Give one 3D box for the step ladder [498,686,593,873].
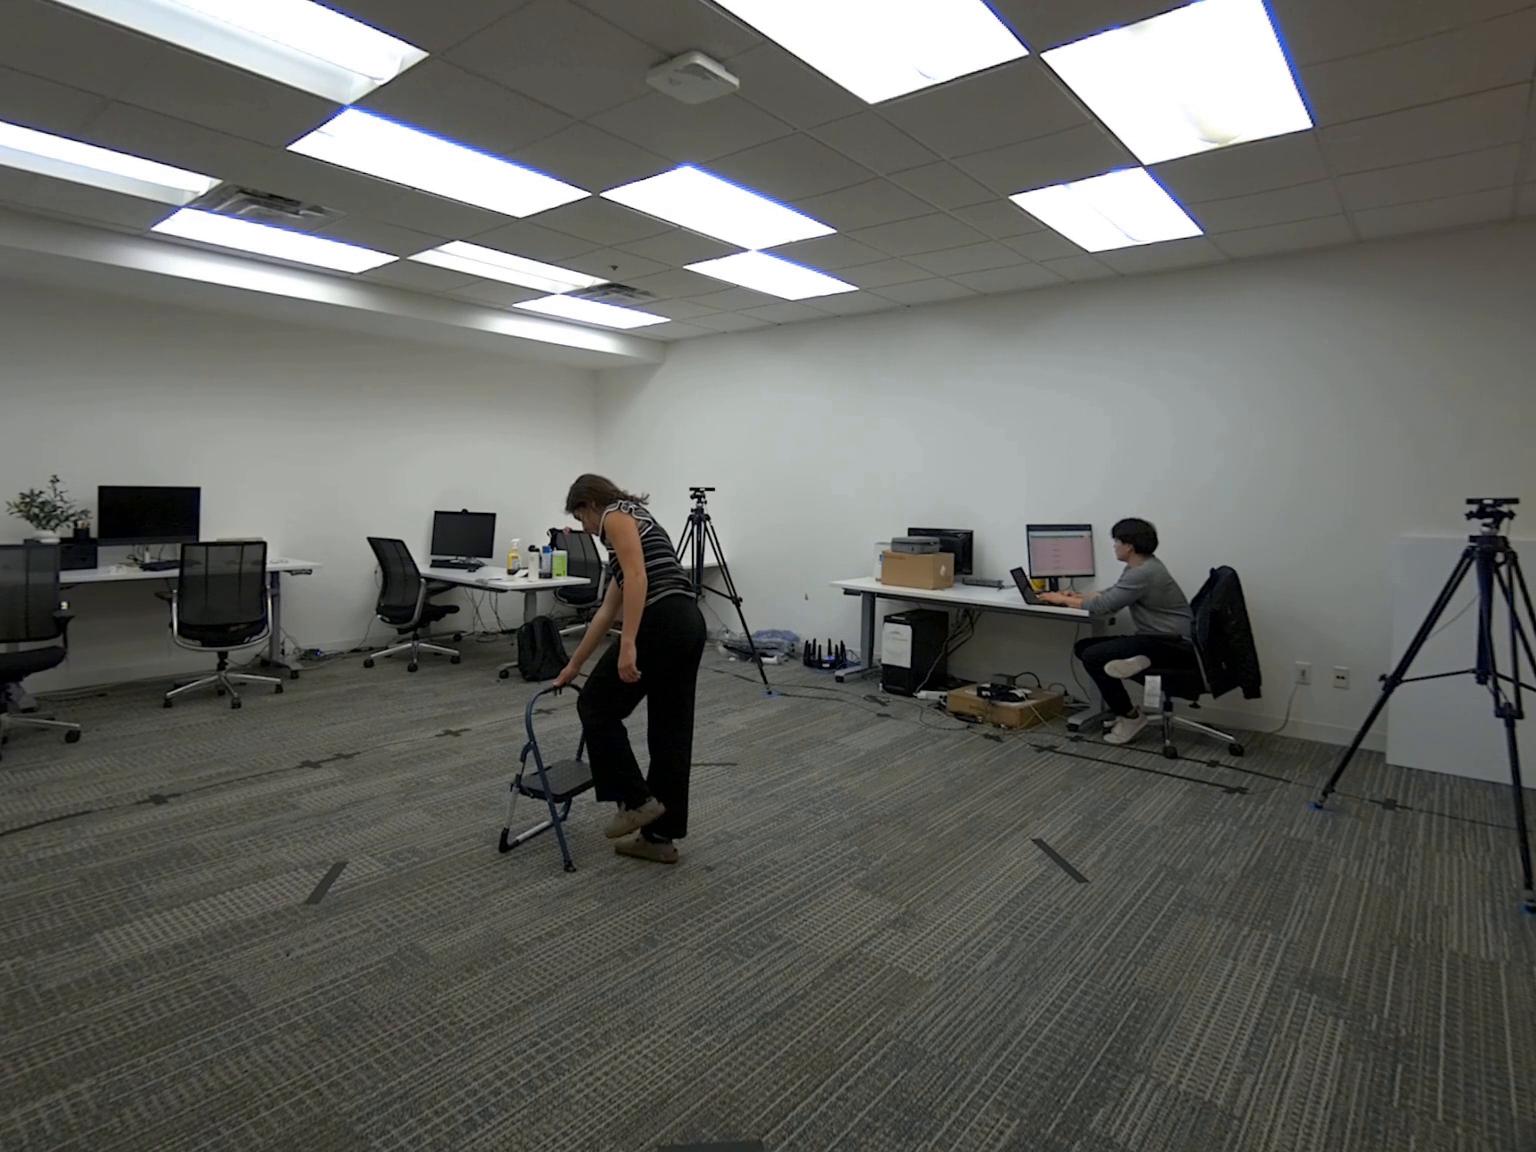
[{"bbox_3d":[-0.789,0.734,3.311,0.358,0.604,0.421,3,3,24],"label":"step ladder"}]
